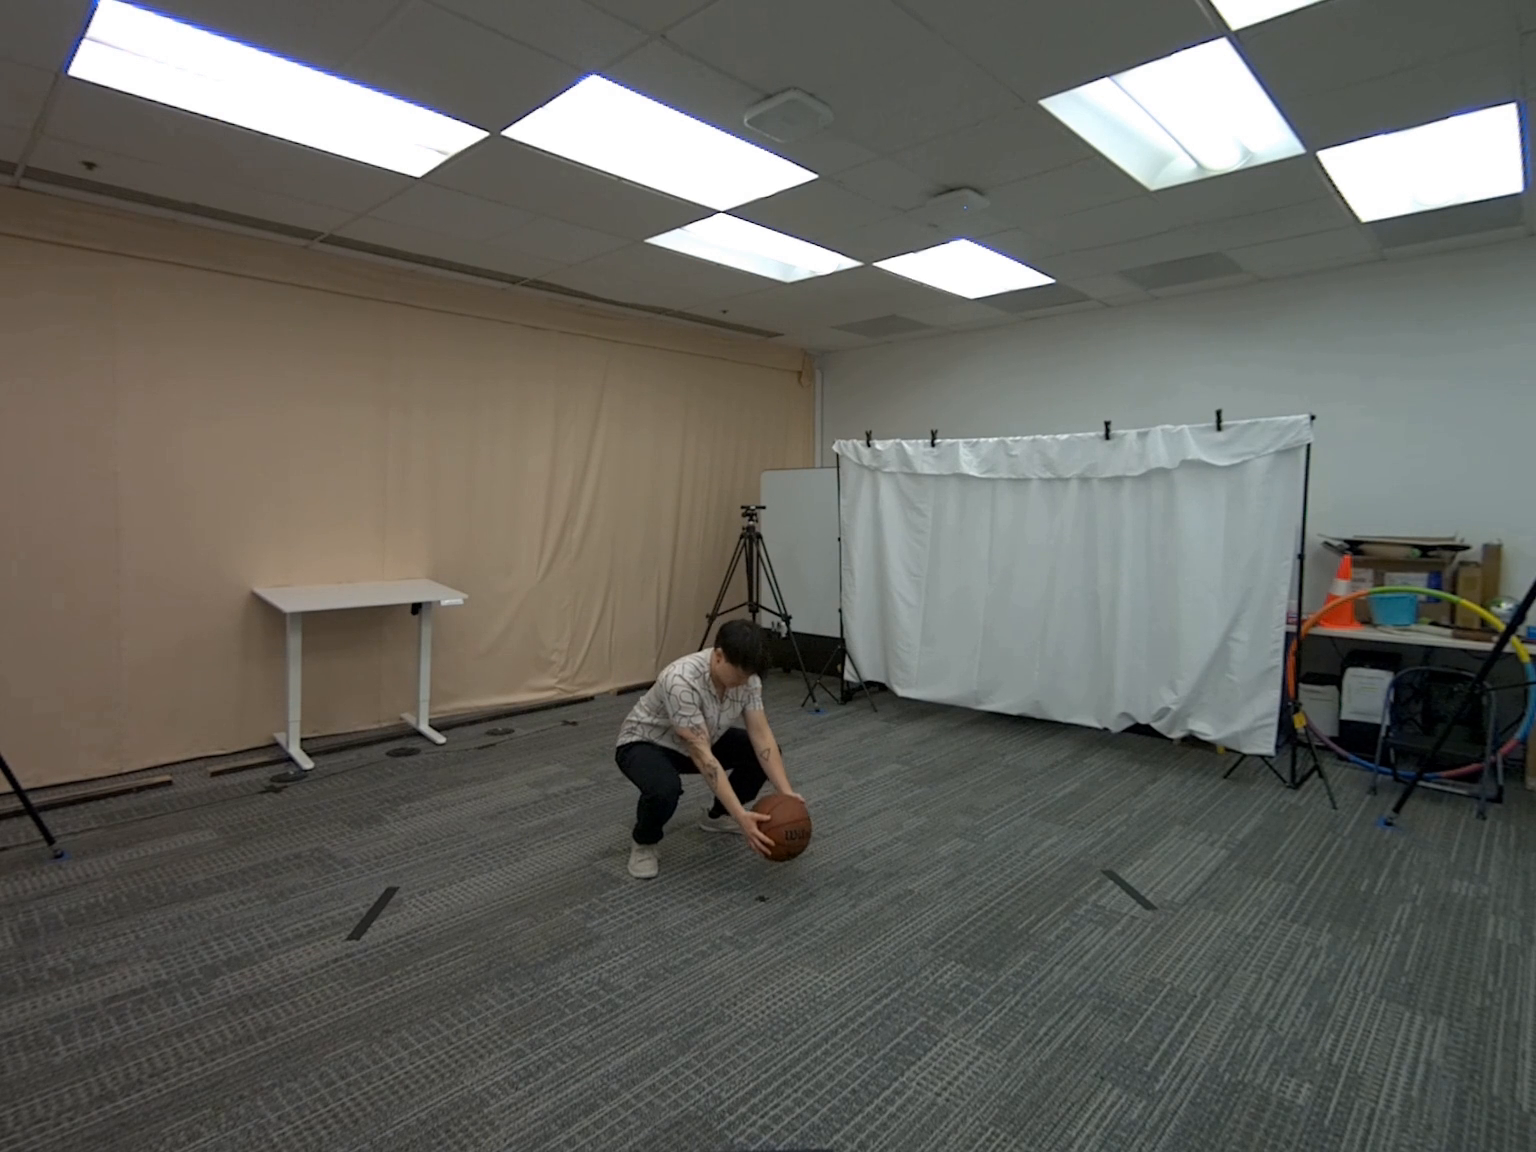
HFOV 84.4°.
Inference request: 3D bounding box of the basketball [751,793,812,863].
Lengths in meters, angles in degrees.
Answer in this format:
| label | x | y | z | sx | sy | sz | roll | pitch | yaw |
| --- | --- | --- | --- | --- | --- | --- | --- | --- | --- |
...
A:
| label | x | y | z | sx | sy | sz | roll | pitch | yaw |
| --- | --- | --- | --- | --- | --- | --- | --- | --- | --- |
| basketball | 0.038 | 0.910 | 3.078 | 0.236 | 0.235 | 0.237 | 0 | 4 | -2 |
